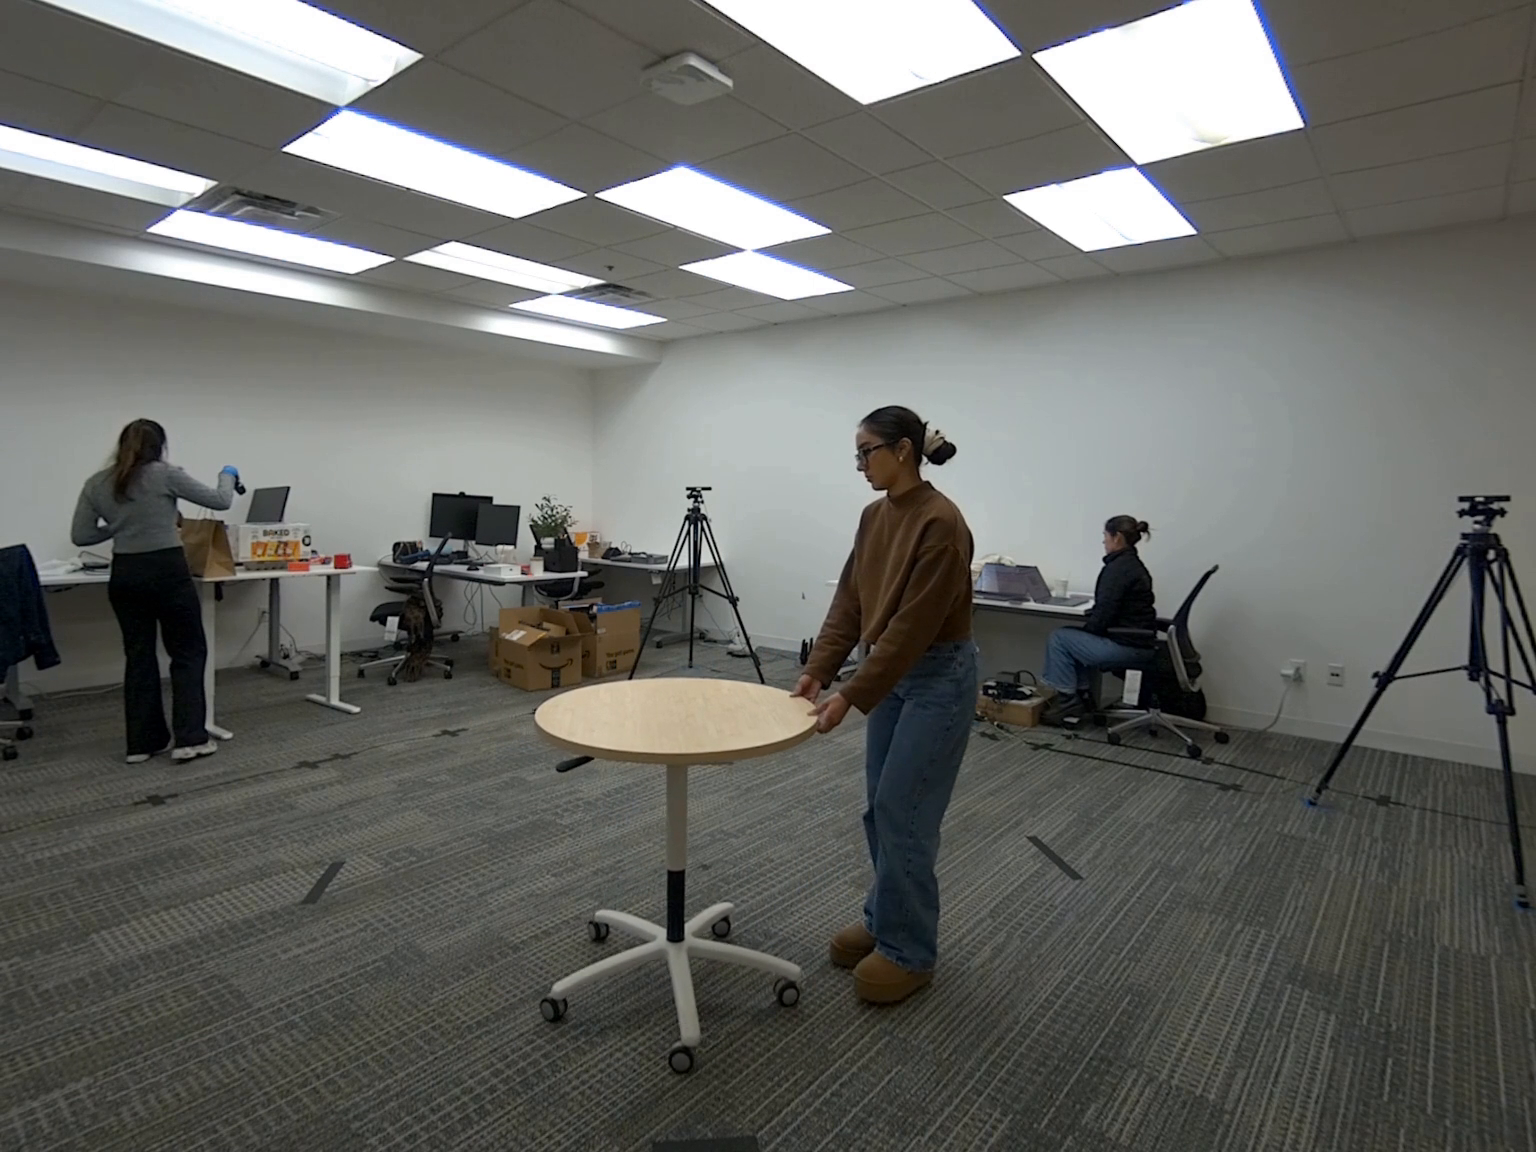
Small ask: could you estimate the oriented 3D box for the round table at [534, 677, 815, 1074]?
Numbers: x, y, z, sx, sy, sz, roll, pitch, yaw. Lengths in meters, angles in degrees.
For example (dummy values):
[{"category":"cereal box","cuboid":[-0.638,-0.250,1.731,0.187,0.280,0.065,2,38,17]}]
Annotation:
[{"category":"round table","cuboid":[-0.261,0.755,2.349,0.763,0.791,0.768,1,4,-2]}]
